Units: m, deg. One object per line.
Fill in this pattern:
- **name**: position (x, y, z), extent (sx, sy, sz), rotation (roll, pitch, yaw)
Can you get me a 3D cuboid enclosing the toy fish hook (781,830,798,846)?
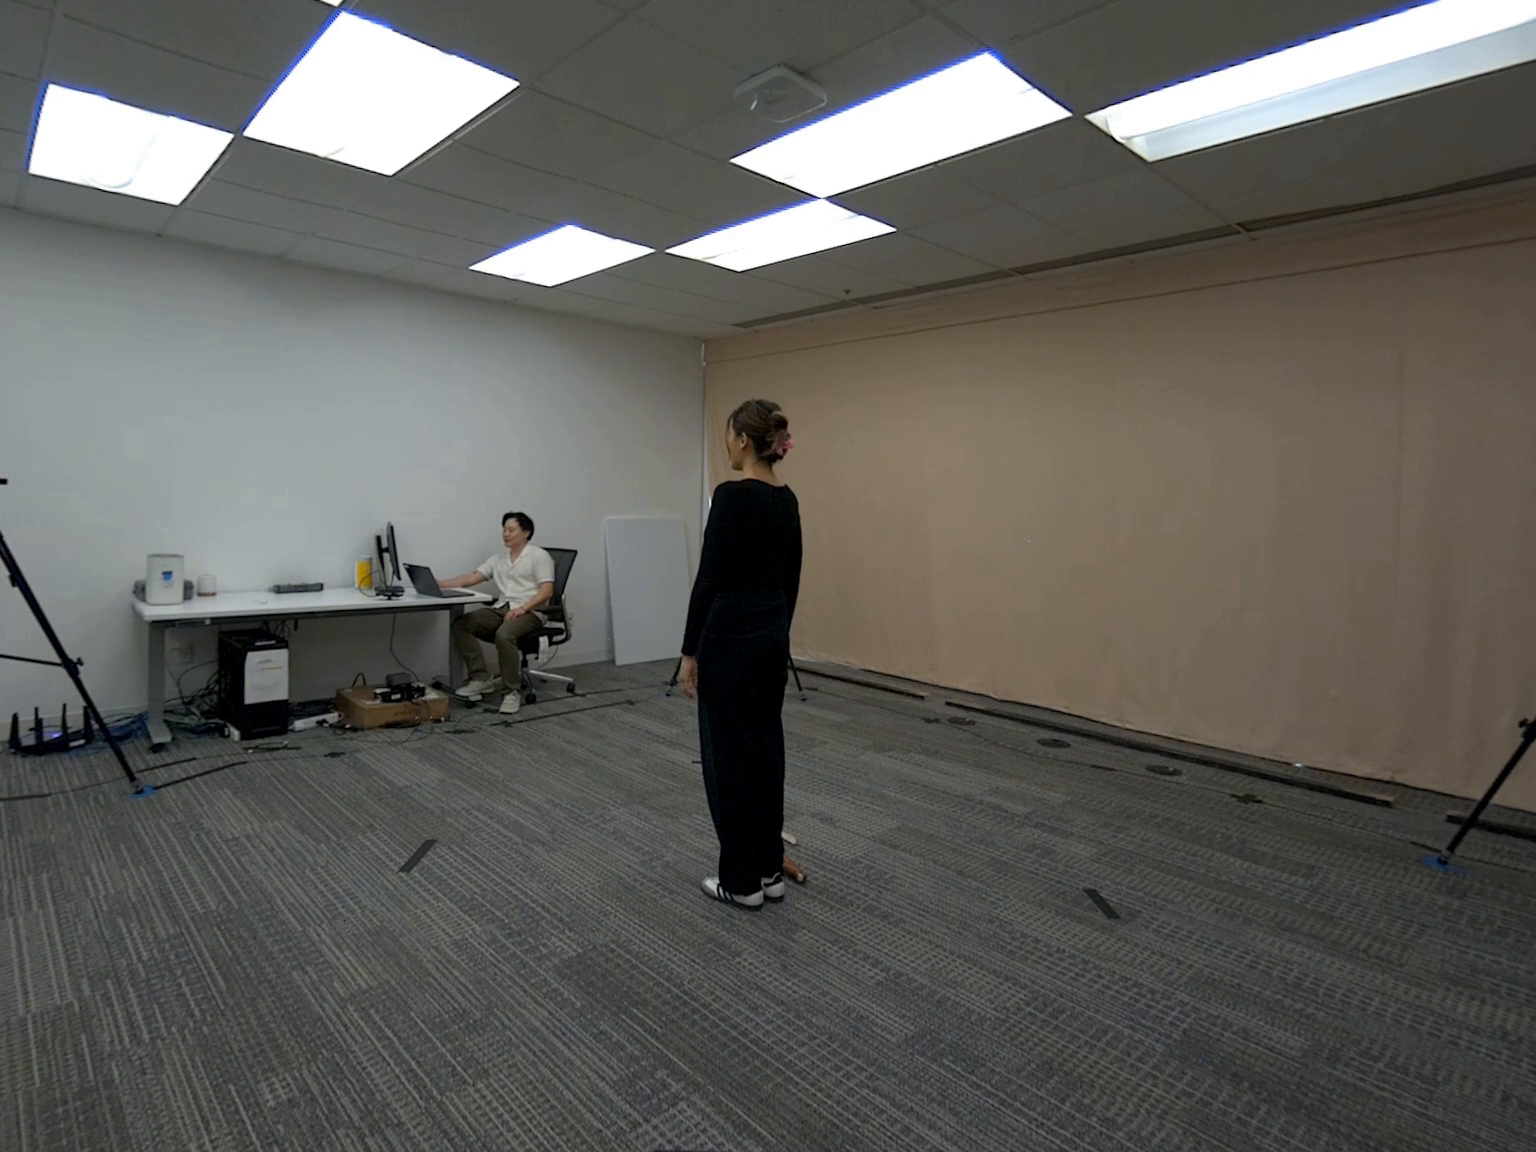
- **toy fish hook**: position (0.055, 1.079, 3.285), extent (0.220, 0.048, 0.517), rotation (-2, 6, -26)
